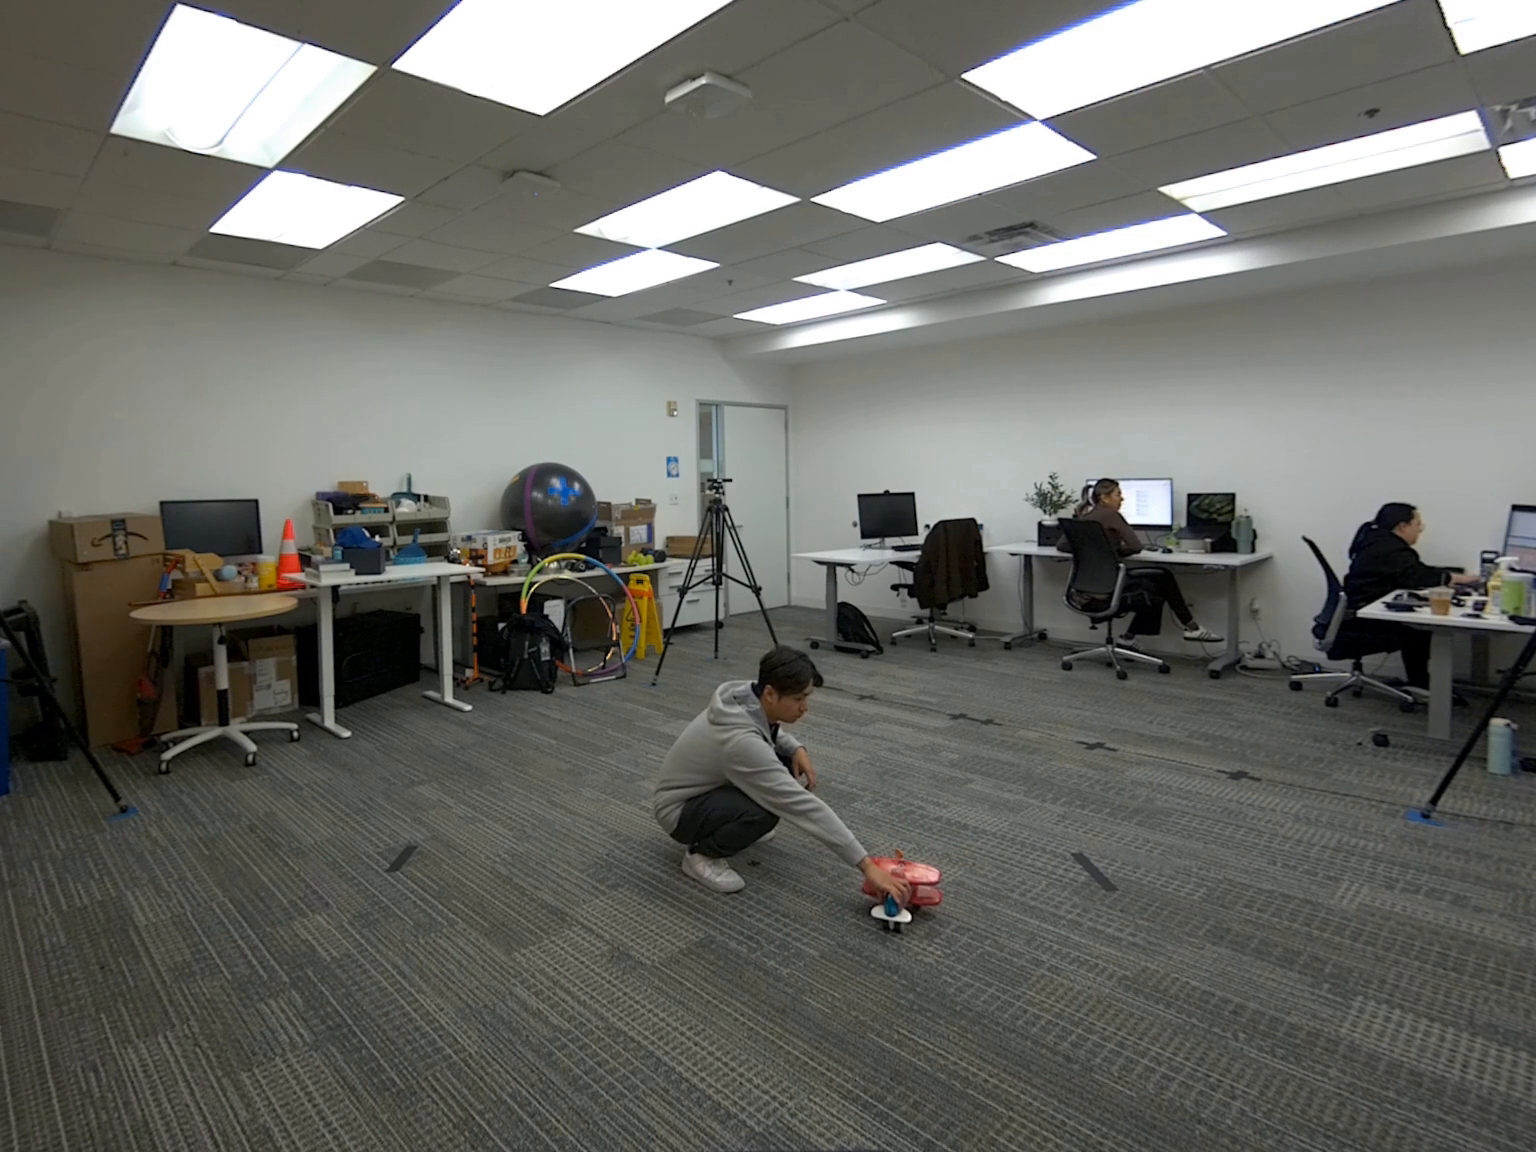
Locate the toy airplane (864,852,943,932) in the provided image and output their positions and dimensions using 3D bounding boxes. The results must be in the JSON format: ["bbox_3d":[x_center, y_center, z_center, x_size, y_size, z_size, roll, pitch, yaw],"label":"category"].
[{"bbox_3d":[0.437,1.006,2.702,0.250,0.156,0.261,-1,4,-6],"label":"toy airplane"}]
